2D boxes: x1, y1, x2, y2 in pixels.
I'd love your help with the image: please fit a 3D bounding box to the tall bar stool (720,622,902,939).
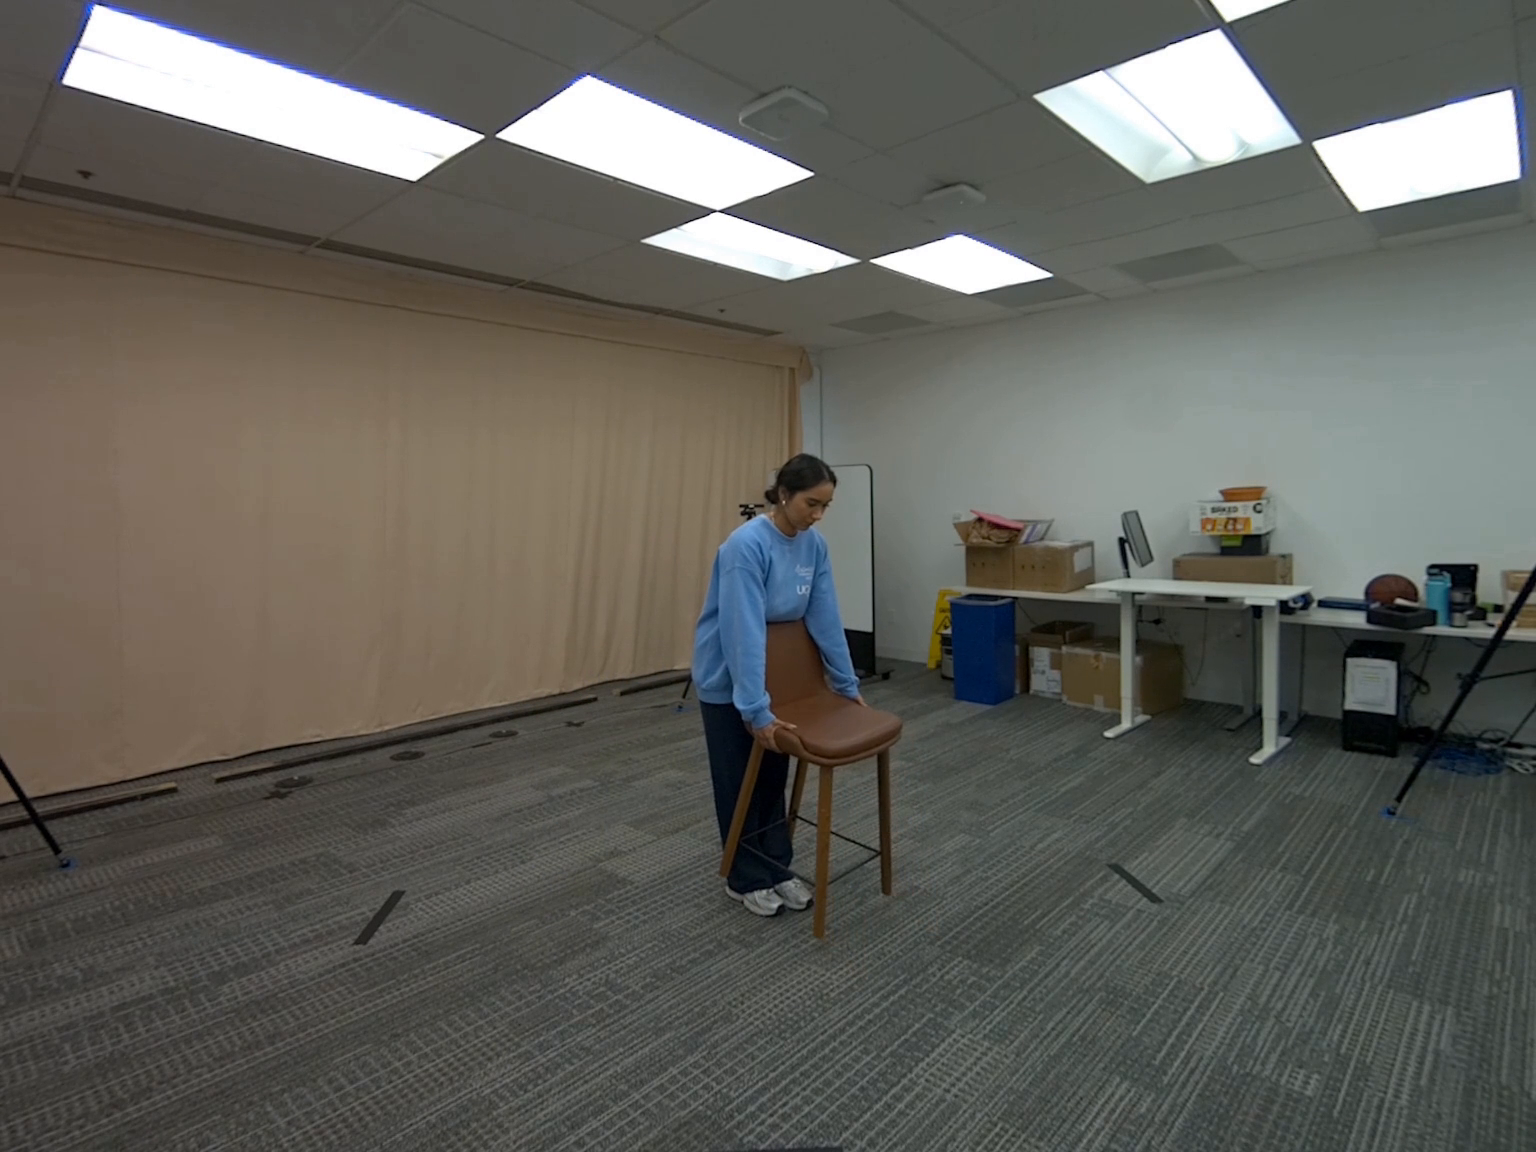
[{"bbox_3d":[0.167,0.631,2.793,0.484,0.886,0.443,9,9,42],"label":"tall bar stool"}]
